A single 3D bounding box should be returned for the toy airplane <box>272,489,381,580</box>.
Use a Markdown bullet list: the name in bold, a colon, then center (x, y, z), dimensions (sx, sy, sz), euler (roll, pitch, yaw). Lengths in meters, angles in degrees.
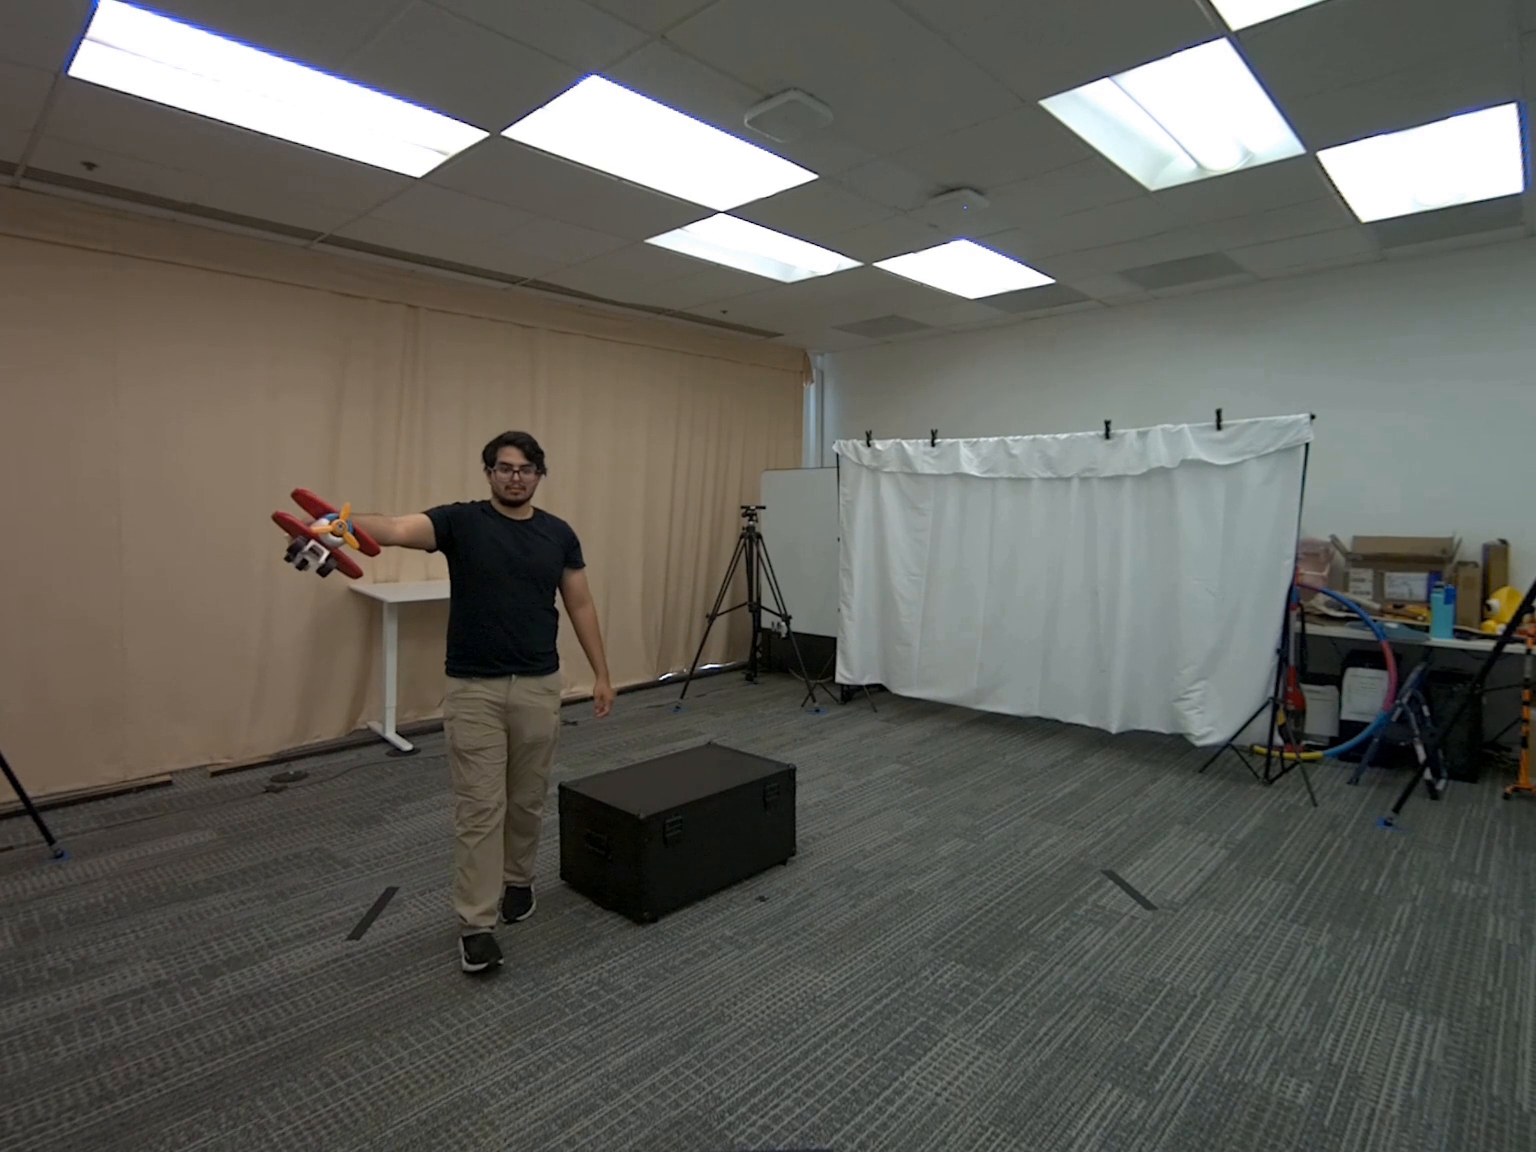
- **toy airplane**: center (-1.160, -0.101, 2.134), dimensions (0.267, 0.156, 0.244), euler (19, -27, 29)
